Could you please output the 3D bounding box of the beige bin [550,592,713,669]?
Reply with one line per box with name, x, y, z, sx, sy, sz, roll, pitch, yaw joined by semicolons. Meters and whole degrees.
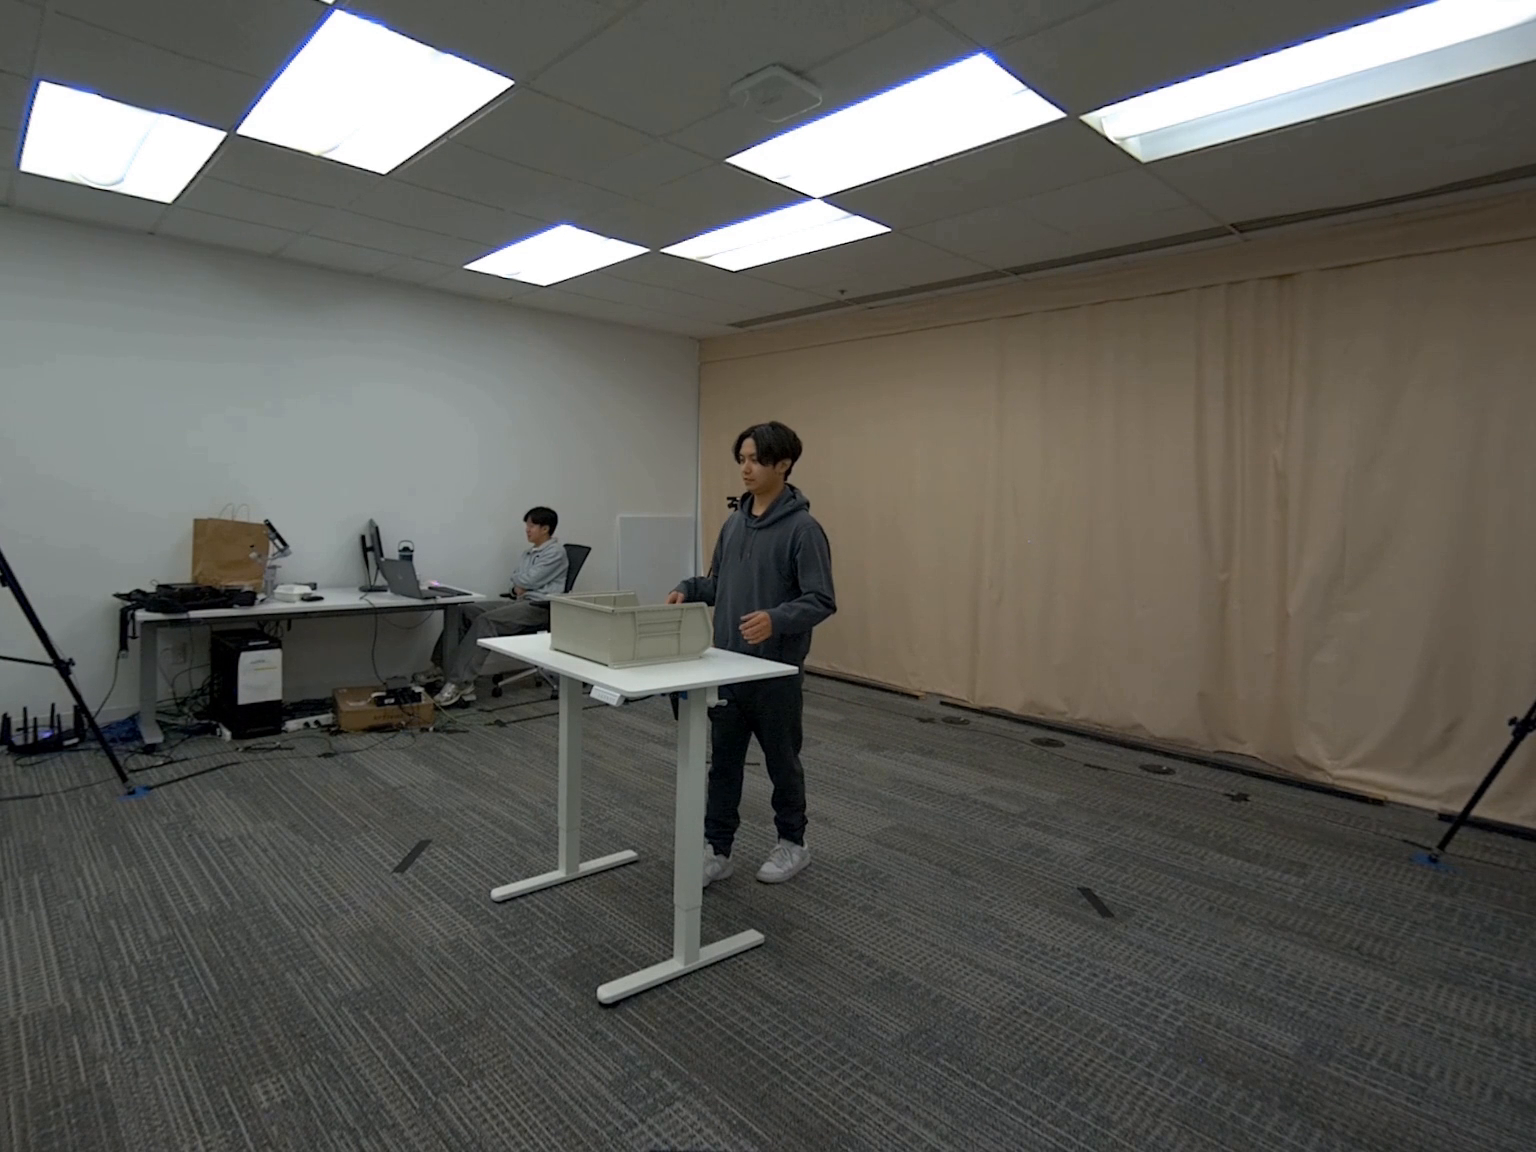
beige bin;-0.452;0.165;2.708;0.369;0.188;0.433;-3;6;-40
